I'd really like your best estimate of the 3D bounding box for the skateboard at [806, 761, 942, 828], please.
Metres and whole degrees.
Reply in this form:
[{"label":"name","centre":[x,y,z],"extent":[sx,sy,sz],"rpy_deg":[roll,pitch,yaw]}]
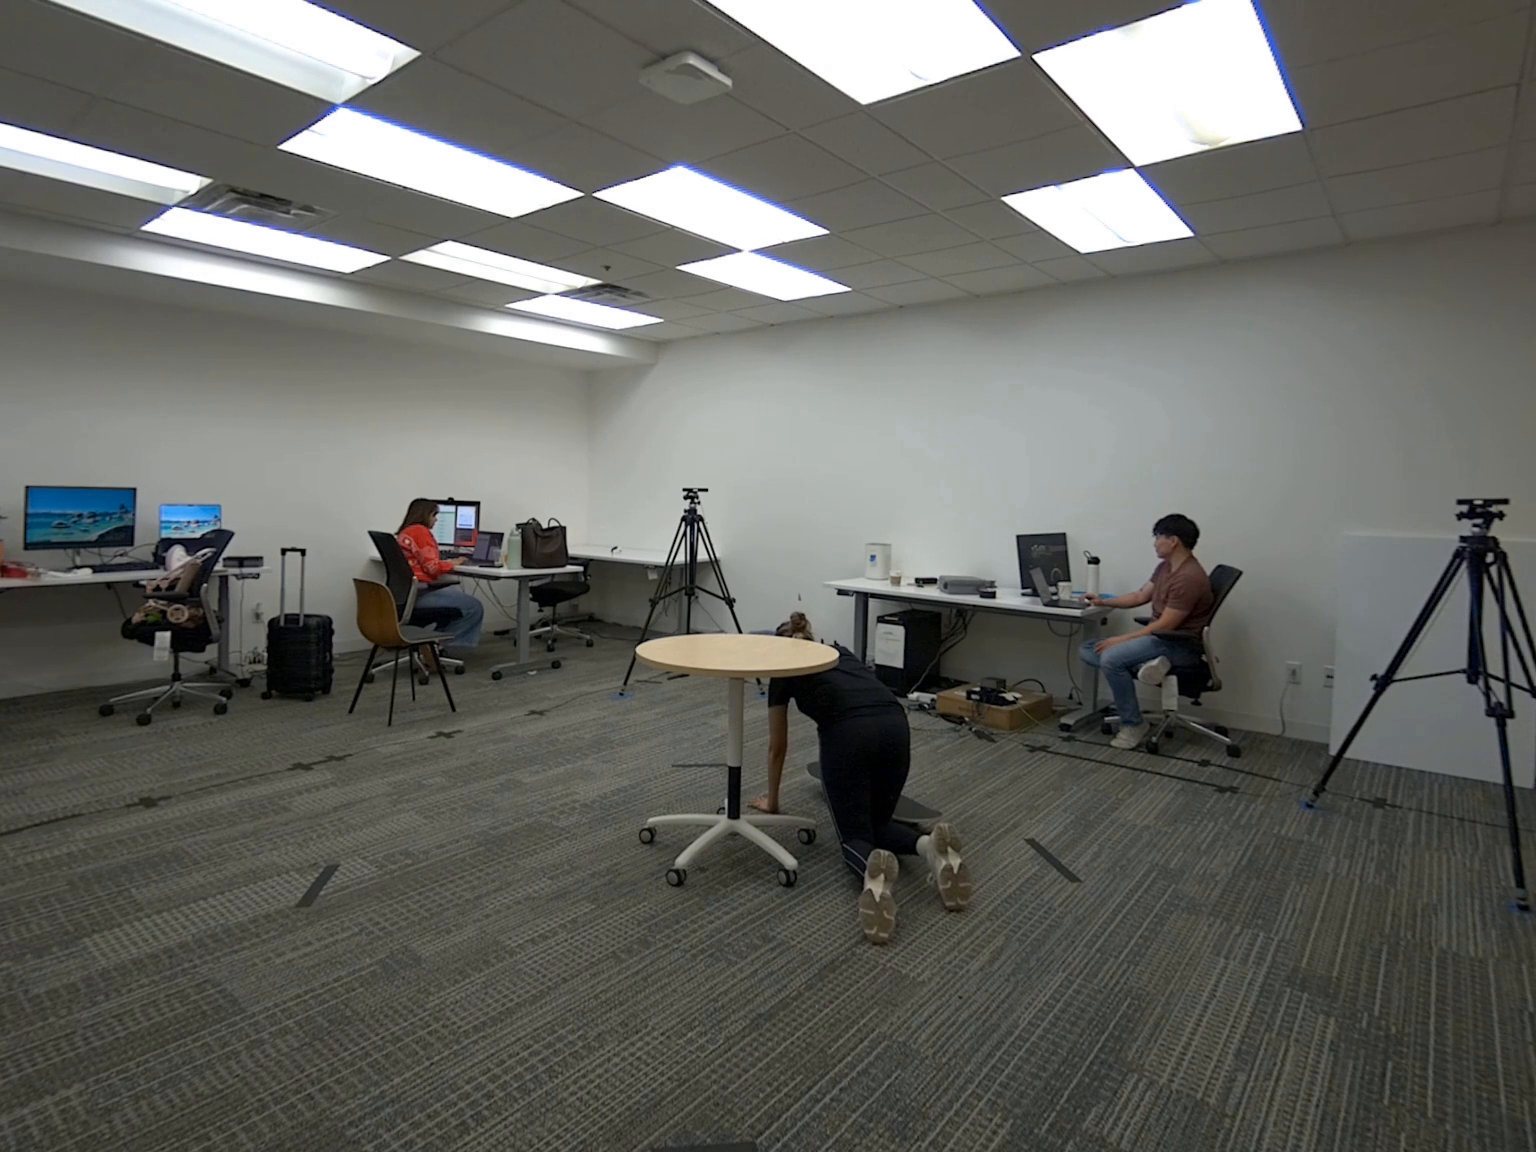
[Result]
[{"label":"skateboard","centre":[0.430,0.962,3.704],"extent":[0.188,0.110,0.812],"rpy_deg":[-3,8,-34]}]
